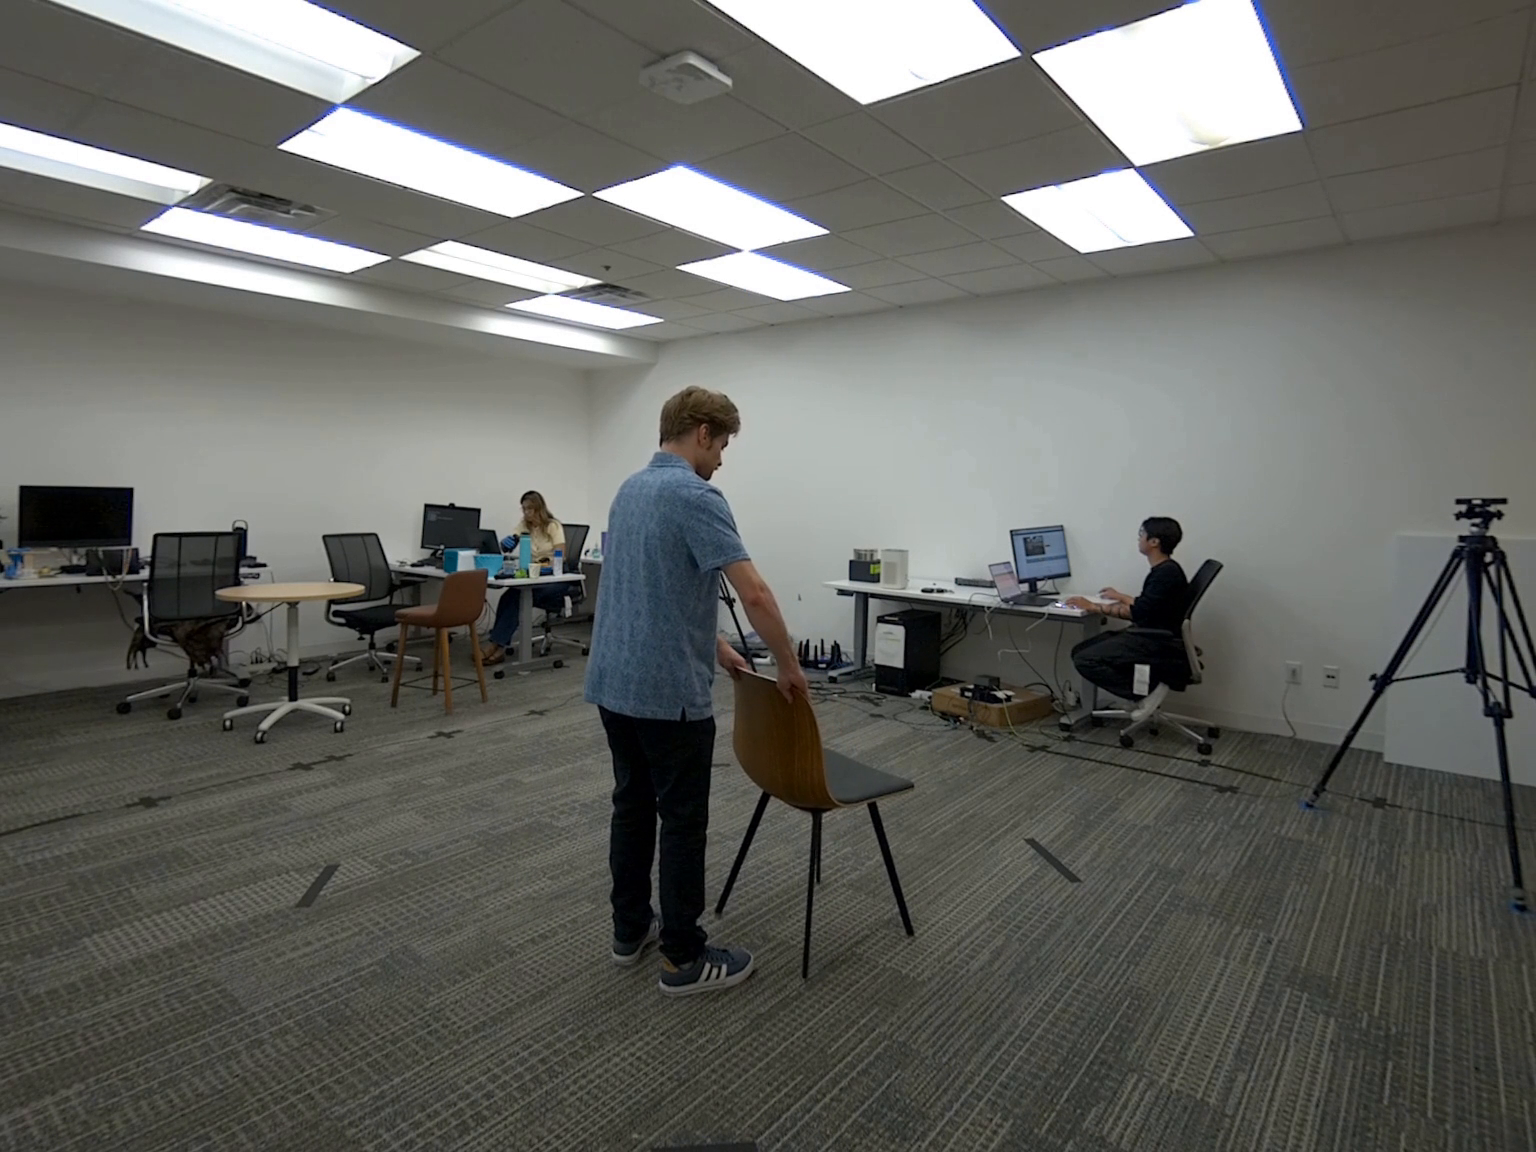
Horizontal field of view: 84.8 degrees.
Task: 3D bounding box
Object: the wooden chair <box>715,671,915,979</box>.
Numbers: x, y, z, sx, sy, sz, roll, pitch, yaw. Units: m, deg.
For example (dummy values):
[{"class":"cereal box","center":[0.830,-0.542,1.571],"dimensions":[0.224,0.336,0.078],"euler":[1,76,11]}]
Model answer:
[{"class":"wooden chair","center":[0.152,0.688,2.708],"dimensions":[0.509,0.872,0.494],"euler":[-6,7,-36]}]
